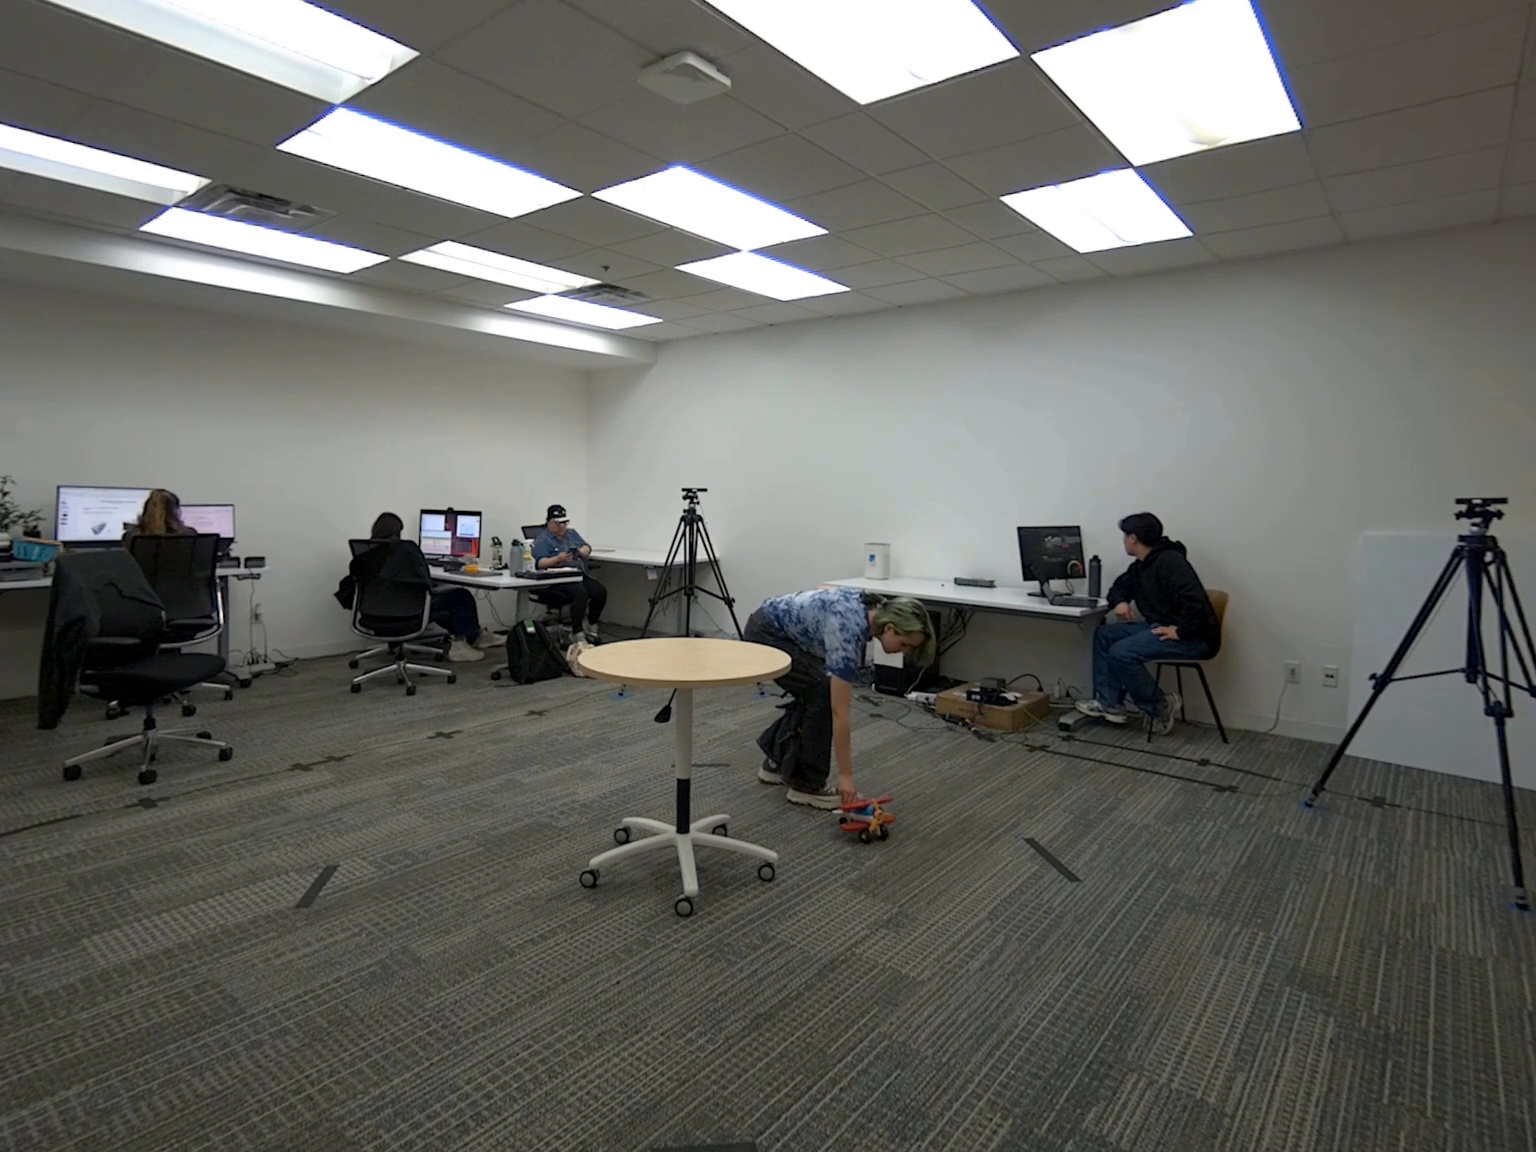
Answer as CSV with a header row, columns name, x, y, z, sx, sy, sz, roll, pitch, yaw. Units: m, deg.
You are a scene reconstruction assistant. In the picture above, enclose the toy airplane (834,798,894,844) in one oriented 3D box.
name,x,y,z,sx,sy,sz,roll,pitch,yaw
toy airplane,0.365,0.972,3.463,0.267,0.156,0.244,5,6,32
